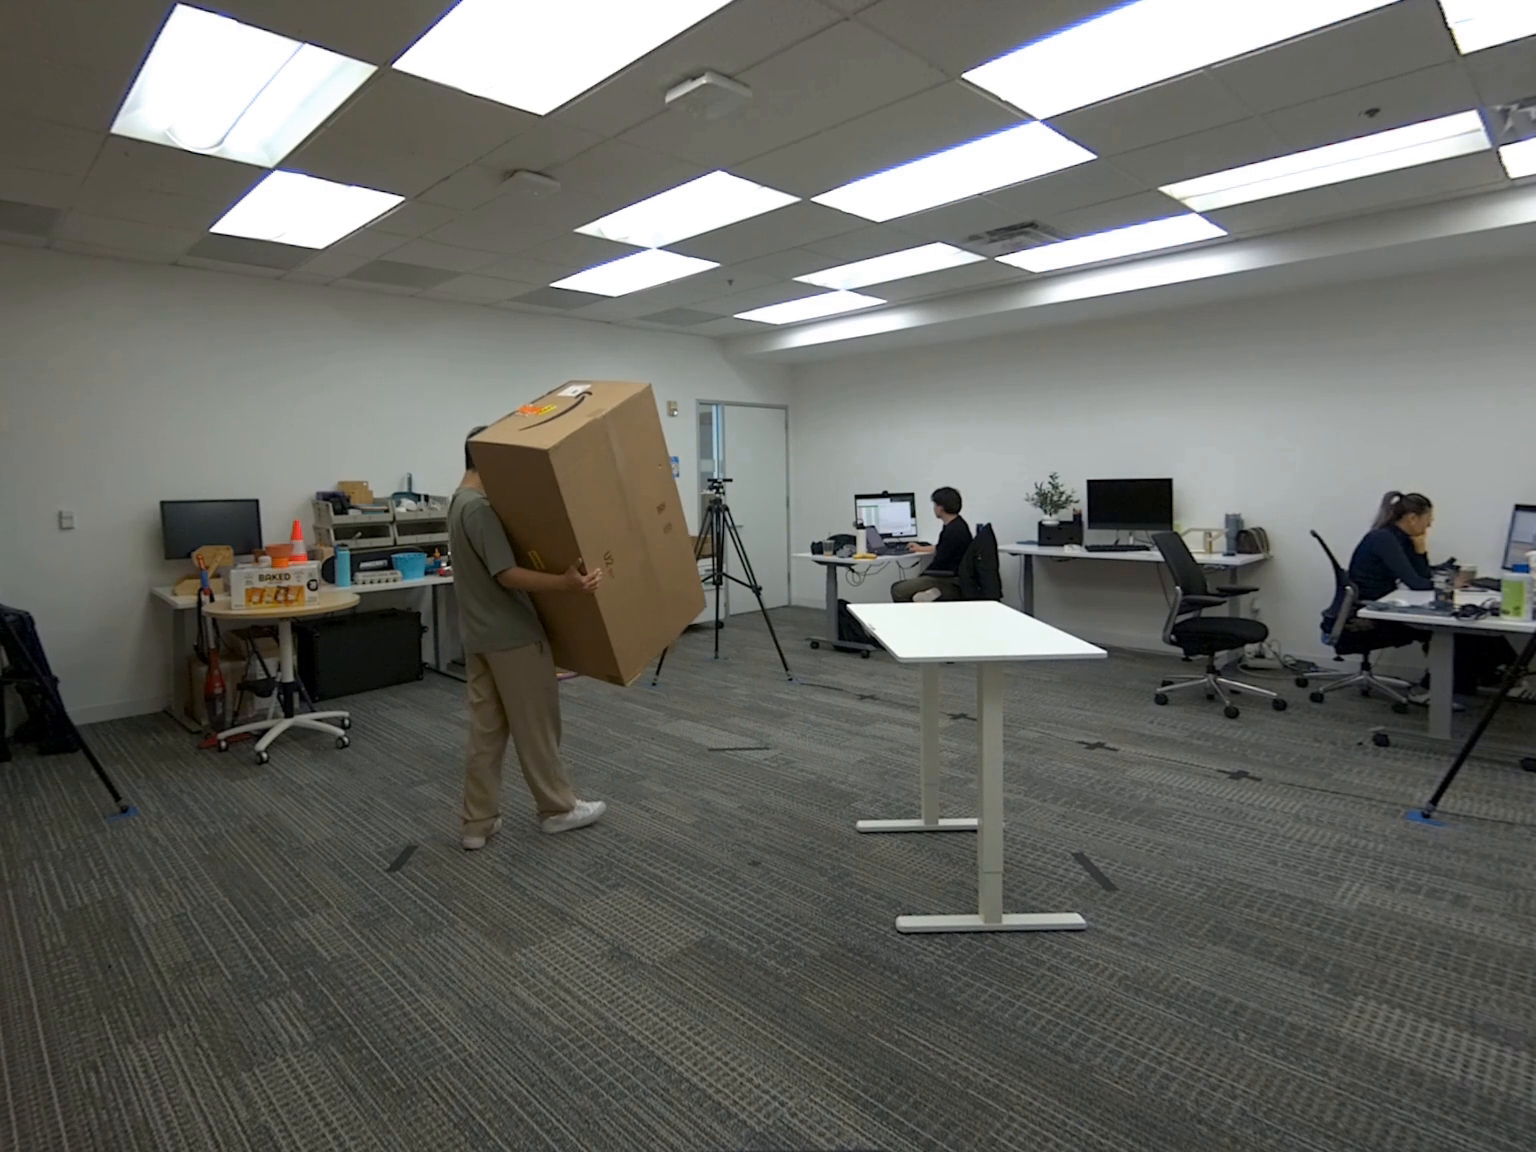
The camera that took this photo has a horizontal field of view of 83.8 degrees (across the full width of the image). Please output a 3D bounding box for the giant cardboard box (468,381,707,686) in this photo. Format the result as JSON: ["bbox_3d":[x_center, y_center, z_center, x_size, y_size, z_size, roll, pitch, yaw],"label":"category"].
[{"bbox_3d":[-0.663,-0.175,3.356,0.439,0.997,0.576,9,36,32],"label":"giant cardboard box"}]
